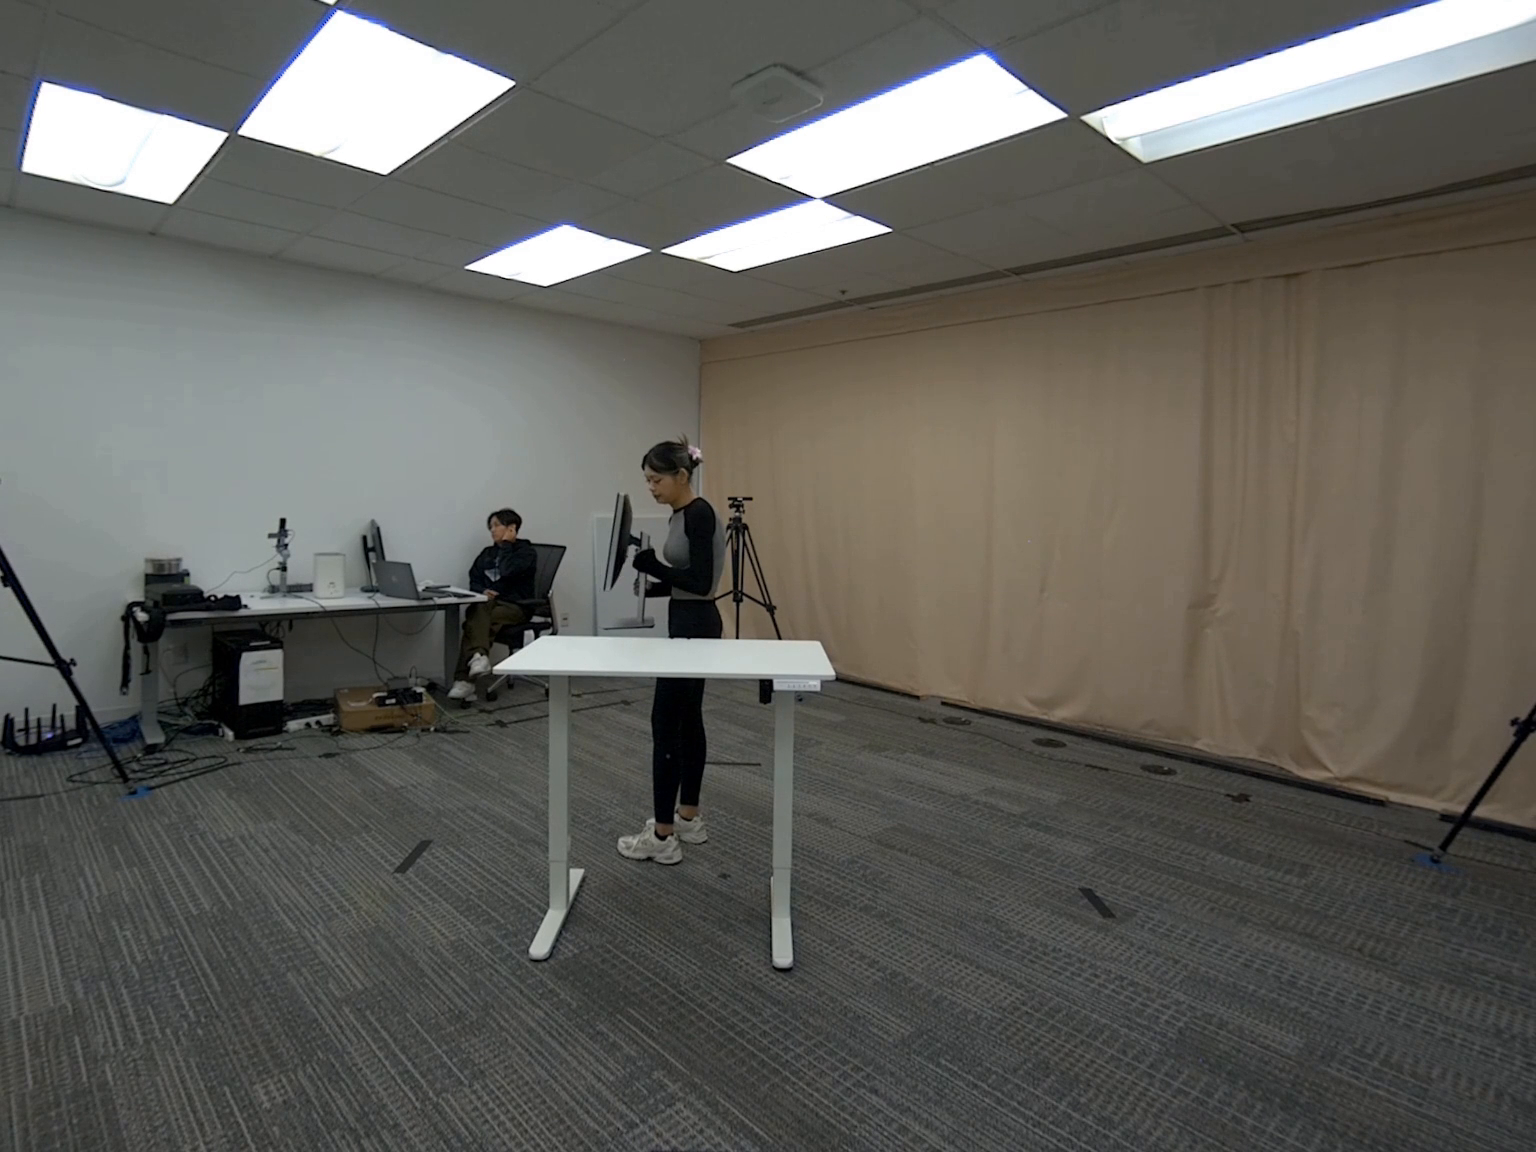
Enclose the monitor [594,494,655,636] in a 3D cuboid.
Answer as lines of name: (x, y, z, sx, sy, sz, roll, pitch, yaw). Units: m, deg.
monitor: (-0.559, -0.058, 3.351, 0.186, 0.521, 0.544, -3, 4, -9)
